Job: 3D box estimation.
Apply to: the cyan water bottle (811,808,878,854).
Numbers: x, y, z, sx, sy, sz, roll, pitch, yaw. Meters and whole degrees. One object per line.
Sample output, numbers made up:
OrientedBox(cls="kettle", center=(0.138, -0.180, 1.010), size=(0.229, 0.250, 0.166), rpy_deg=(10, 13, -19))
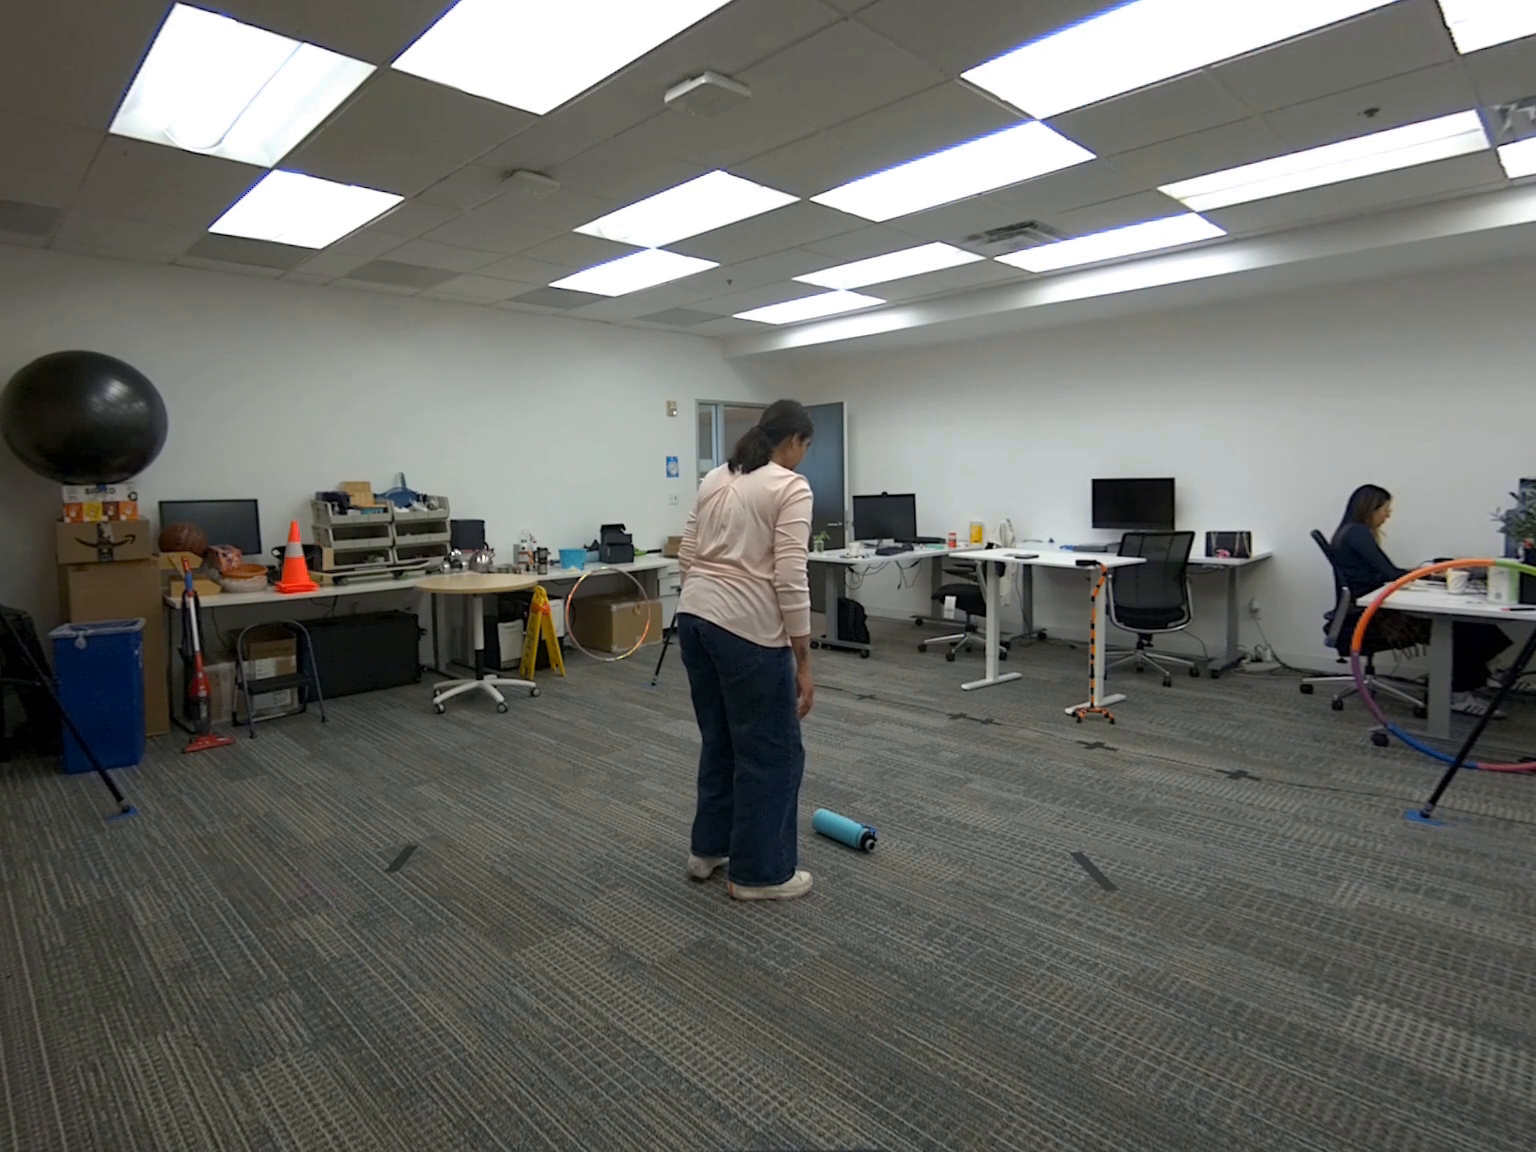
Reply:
OrientedBox(cls="cyan water bottle", center=(0.298, 0.972, 3.275), size=(0.090, 0.092, 0.292), rpy_deg=(-5, 7, -40))
